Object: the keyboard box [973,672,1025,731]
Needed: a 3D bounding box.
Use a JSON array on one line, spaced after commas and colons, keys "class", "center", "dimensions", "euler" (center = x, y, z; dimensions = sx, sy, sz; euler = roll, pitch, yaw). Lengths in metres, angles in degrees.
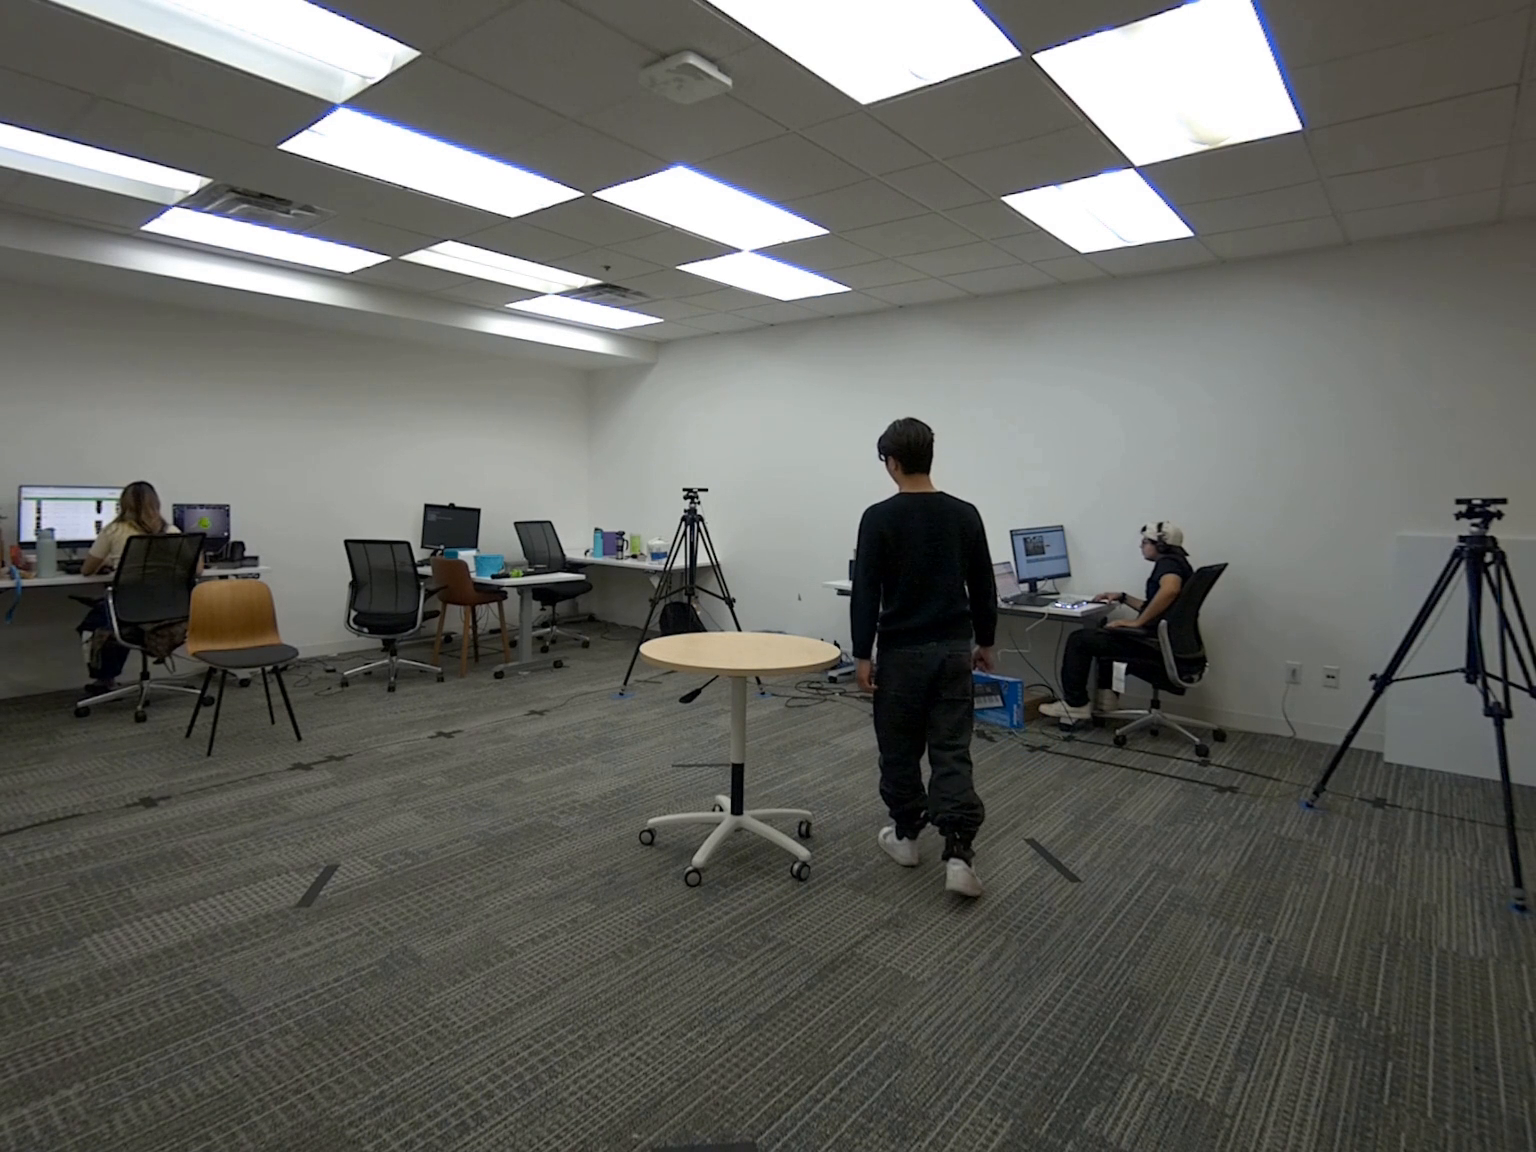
[{"class": "keyboard box", "center": [0.815, 0.460, 3.296], "dimensions": [0.058, 0.176, 0.445], "euler": [2, -3, -23]}]
